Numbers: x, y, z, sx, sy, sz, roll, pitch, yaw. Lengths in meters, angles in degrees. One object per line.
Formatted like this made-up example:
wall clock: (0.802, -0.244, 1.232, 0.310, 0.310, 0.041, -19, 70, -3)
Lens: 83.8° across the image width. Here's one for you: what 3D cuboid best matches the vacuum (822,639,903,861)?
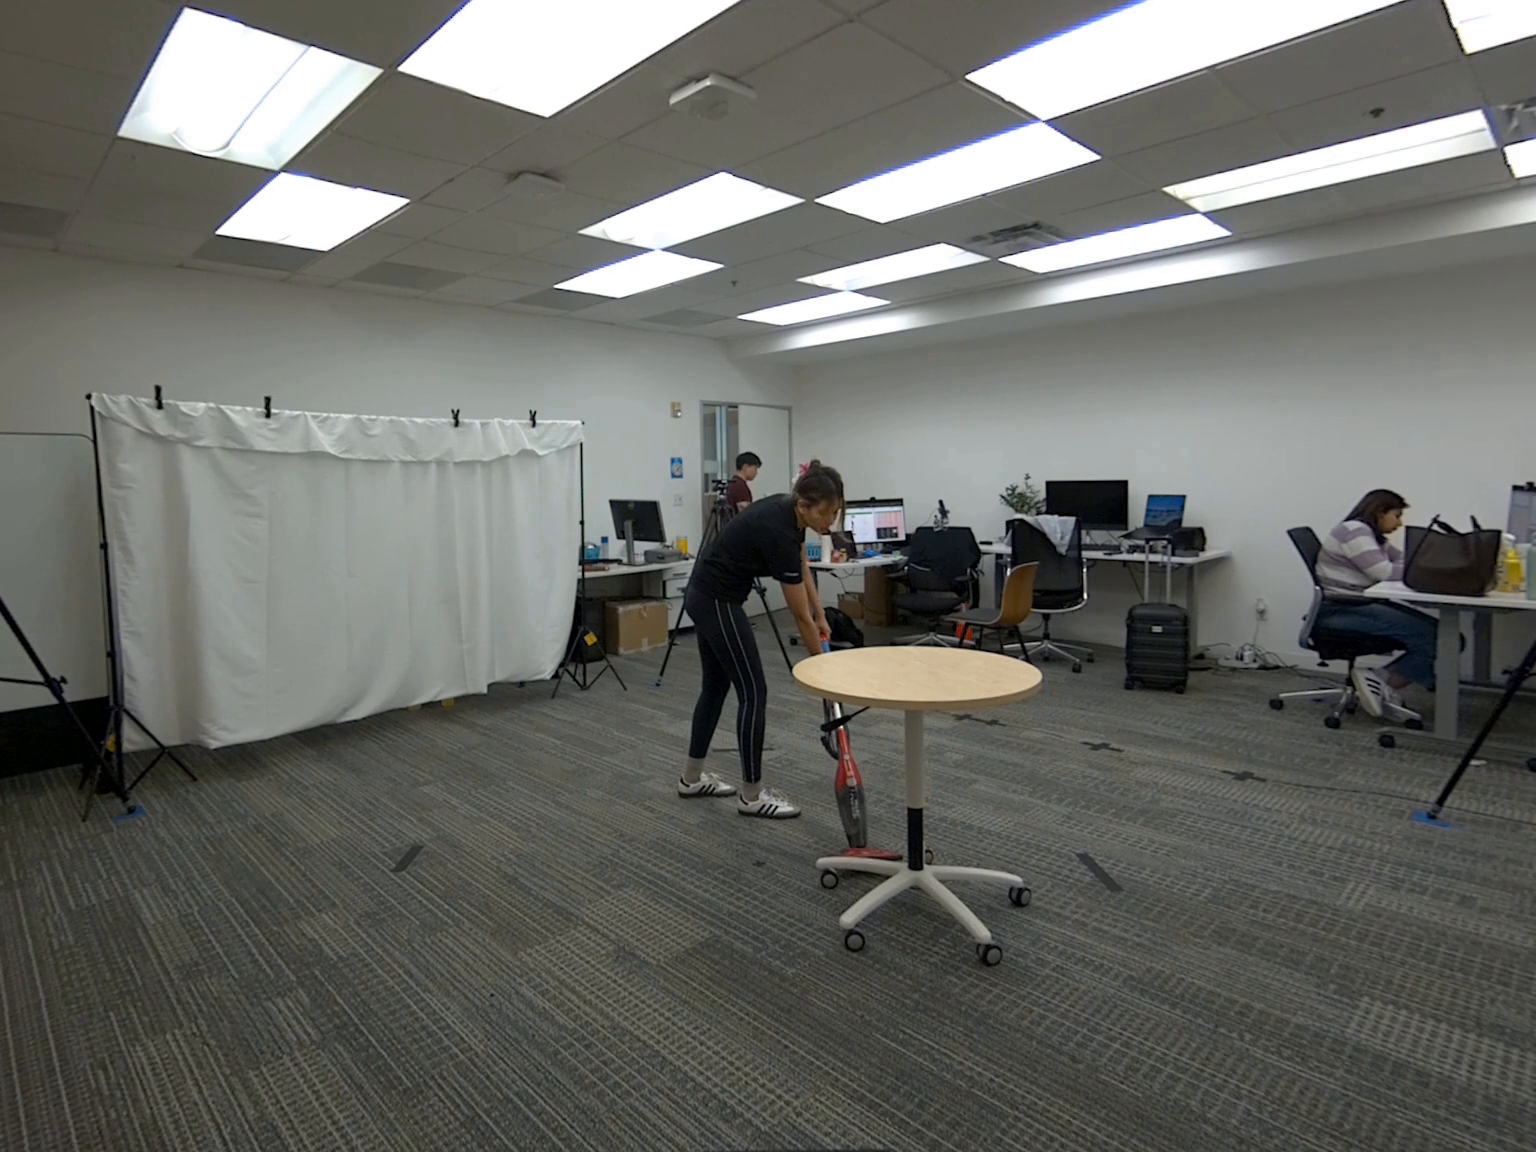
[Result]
vacuum: (0.290, 0.640, 3.435, 0.252, 0.140, 1.082, -6, 44, -2)
